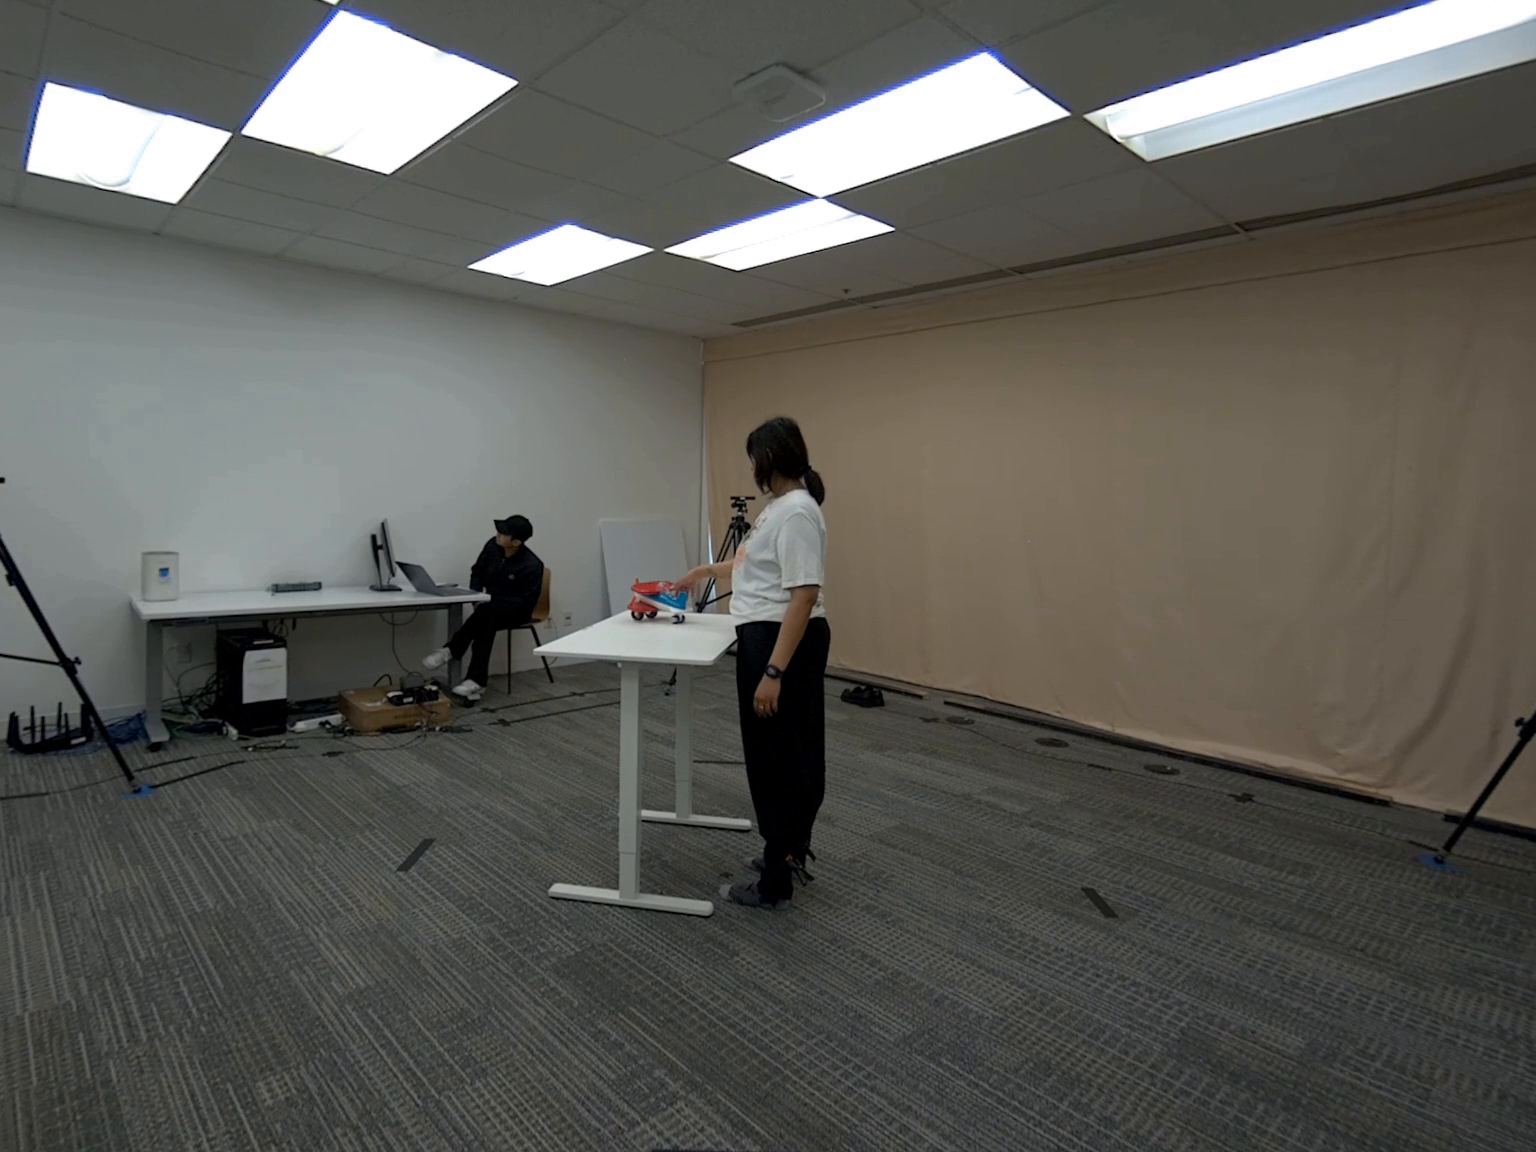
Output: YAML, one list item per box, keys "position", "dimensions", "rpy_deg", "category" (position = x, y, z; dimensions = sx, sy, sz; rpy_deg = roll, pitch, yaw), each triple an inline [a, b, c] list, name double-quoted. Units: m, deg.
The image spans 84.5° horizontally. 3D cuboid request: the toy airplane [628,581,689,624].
- position: [-0.437, 0.105, 3.451]
  dimensions: [0.260, 0.156, 0.251]
  rpy_deg: [0, 5, 5]
  category: "toy airplane"
